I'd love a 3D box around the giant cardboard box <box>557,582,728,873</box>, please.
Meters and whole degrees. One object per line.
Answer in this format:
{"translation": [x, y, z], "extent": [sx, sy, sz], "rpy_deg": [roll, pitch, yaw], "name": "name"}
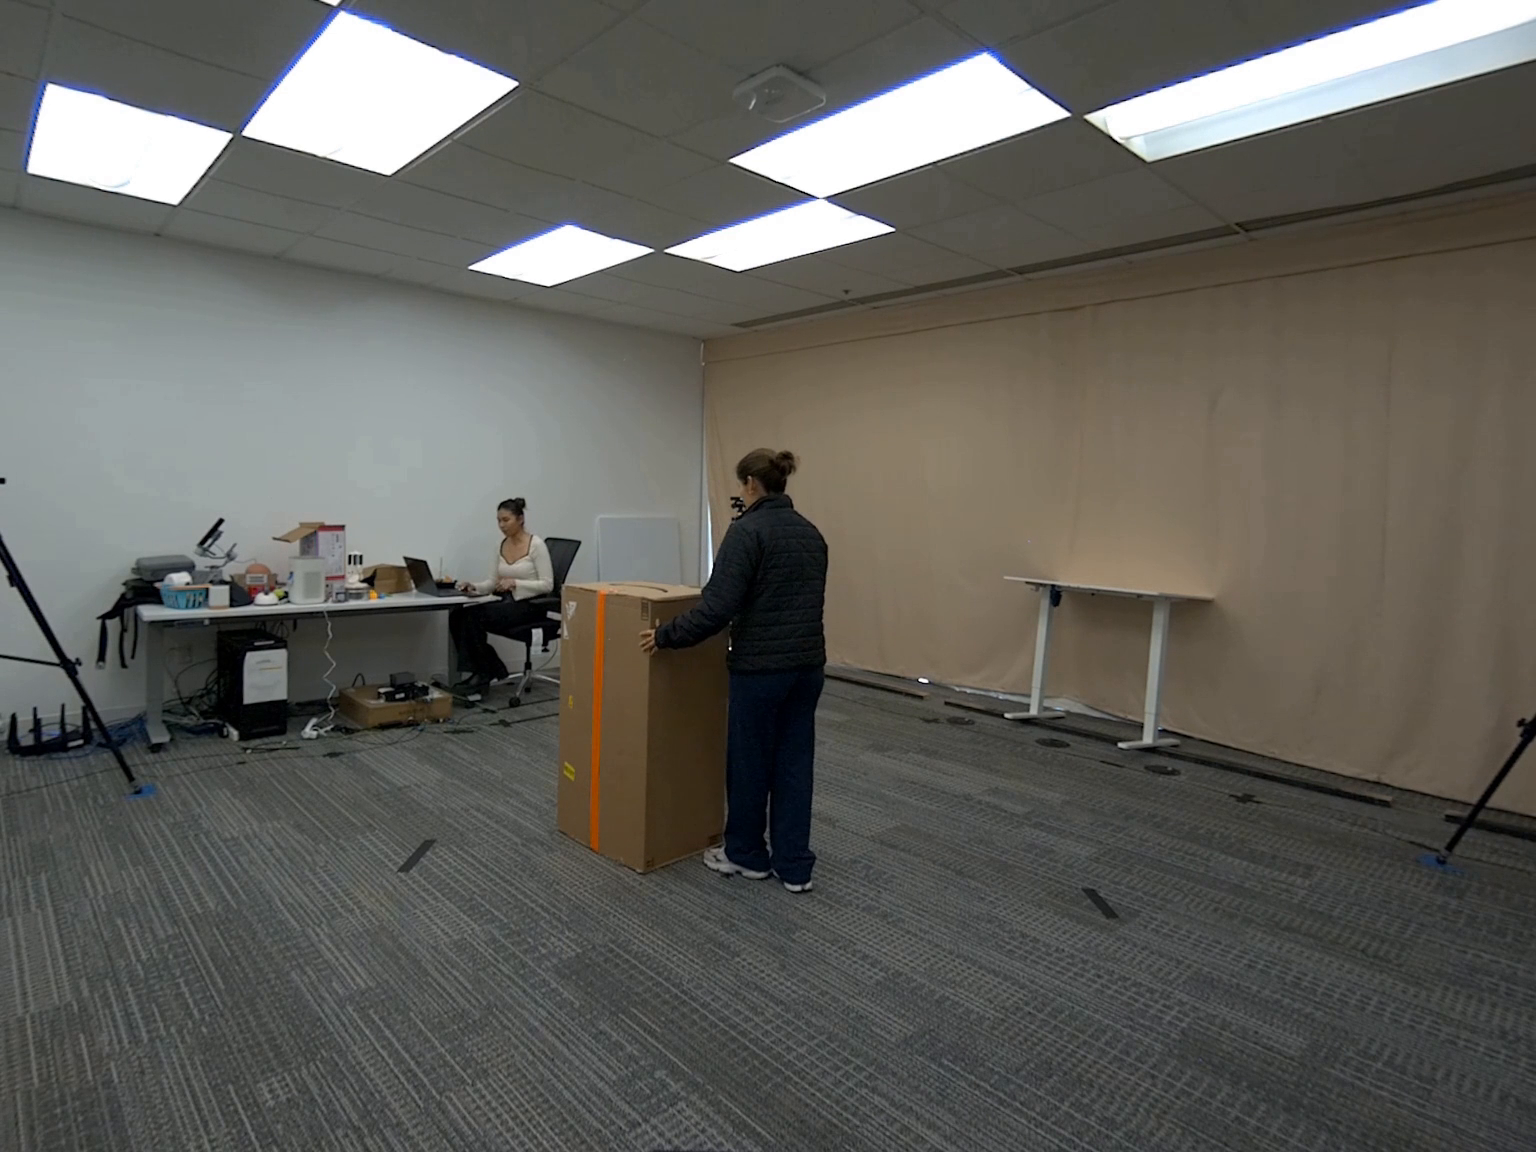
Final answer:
{"translation": [-0.521, 0.566, 3.408], "extent": [0.592, 1.023, 0.416], "rpy_deg": [5, 4, 44], "name": "giant cardboard box"}
